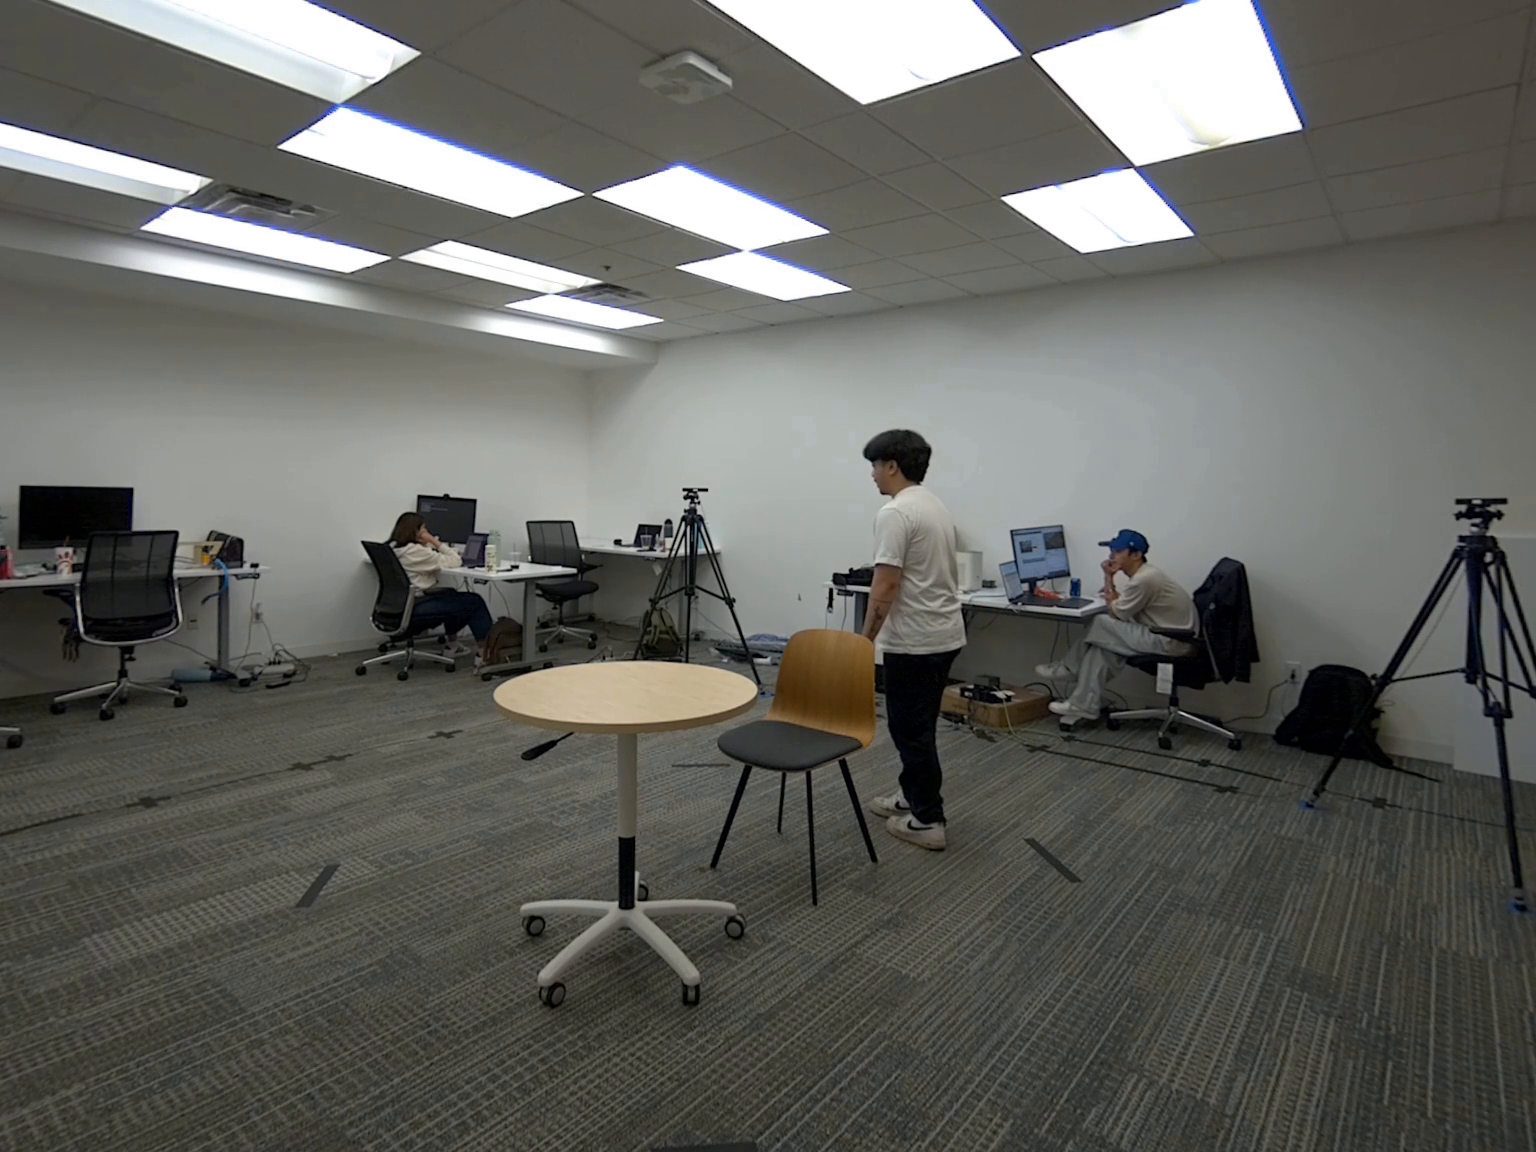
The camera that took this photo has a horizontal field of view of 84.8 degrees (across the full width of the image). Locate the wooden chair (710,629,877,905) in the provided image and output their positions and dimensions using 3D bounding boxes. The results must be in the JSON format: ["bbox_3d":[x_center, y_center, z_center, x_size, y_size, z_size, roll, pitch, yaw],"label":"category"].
[{"bbox_3d":[0.099,0.646,3.128,0.494,0.878,0.506,4,0,36],"label":"wooden chair"}]
